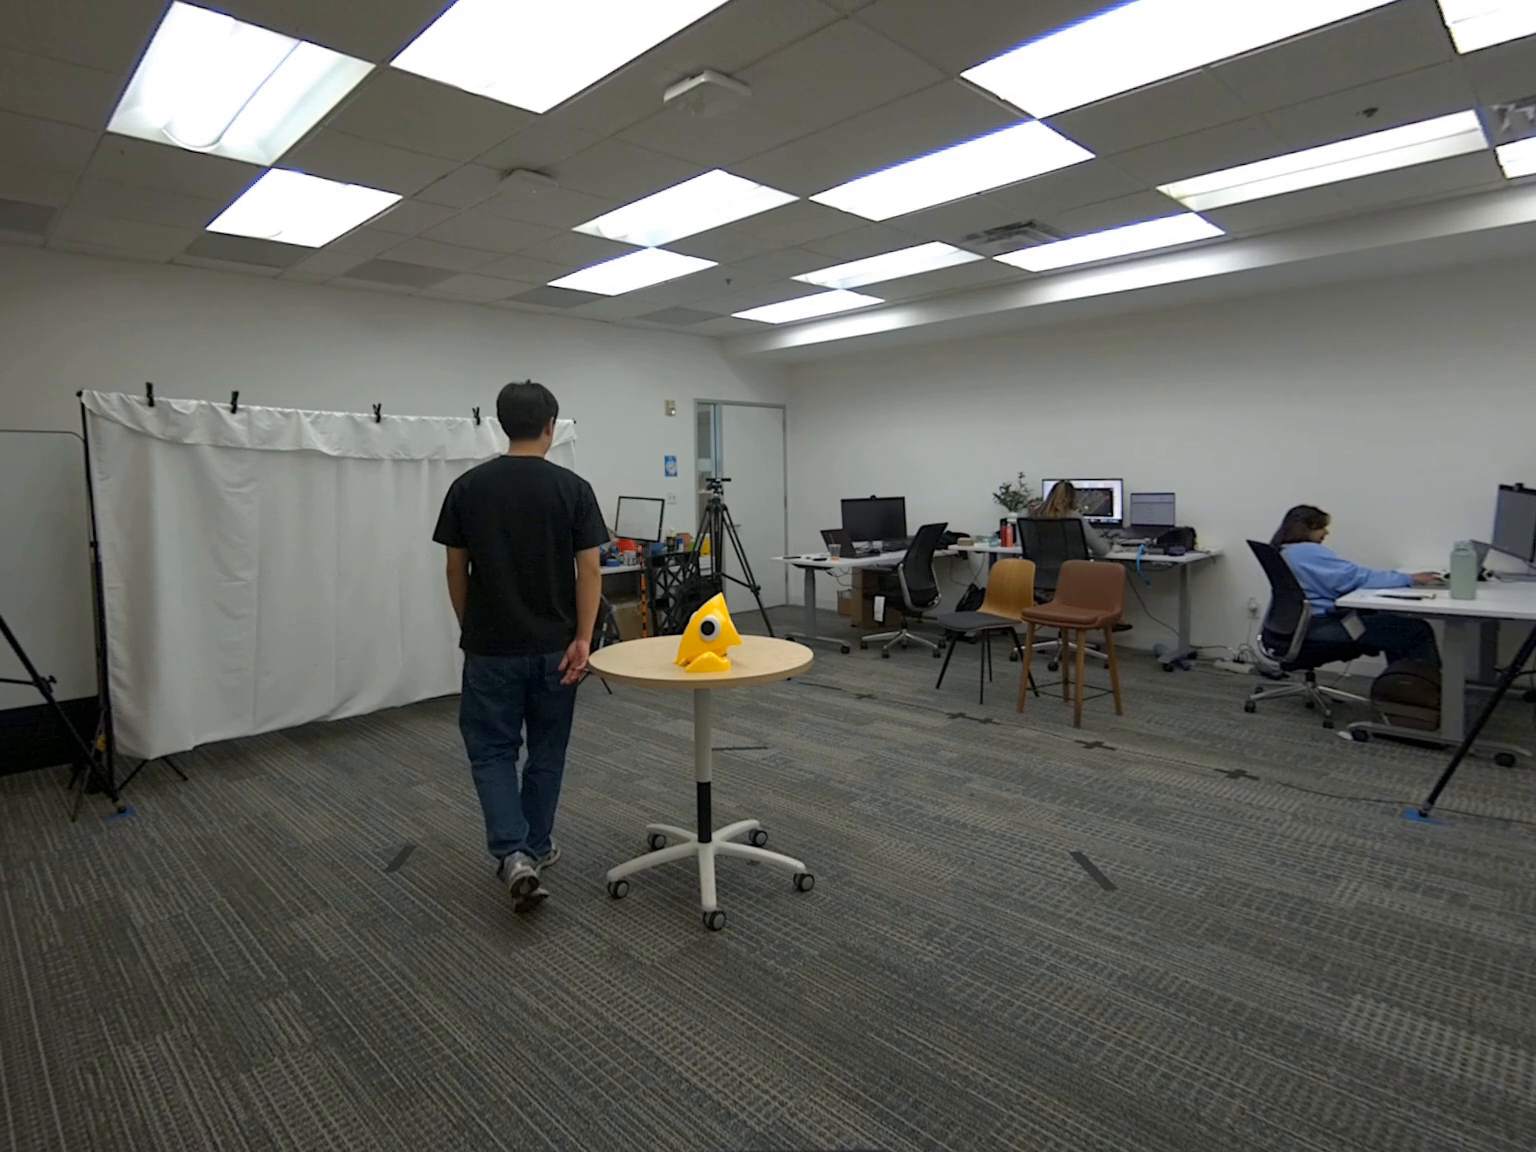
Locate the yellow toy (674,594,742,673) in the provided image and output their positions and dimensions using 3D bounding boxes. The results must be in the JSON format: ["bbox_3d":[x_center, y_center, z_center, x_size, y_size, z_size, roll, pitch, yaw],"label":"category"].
[{"bbox_3d":[-0.203,0.171,2.747,0.189,0.230,0.209,-2,5,-22],"label":"yellow toy"}]
